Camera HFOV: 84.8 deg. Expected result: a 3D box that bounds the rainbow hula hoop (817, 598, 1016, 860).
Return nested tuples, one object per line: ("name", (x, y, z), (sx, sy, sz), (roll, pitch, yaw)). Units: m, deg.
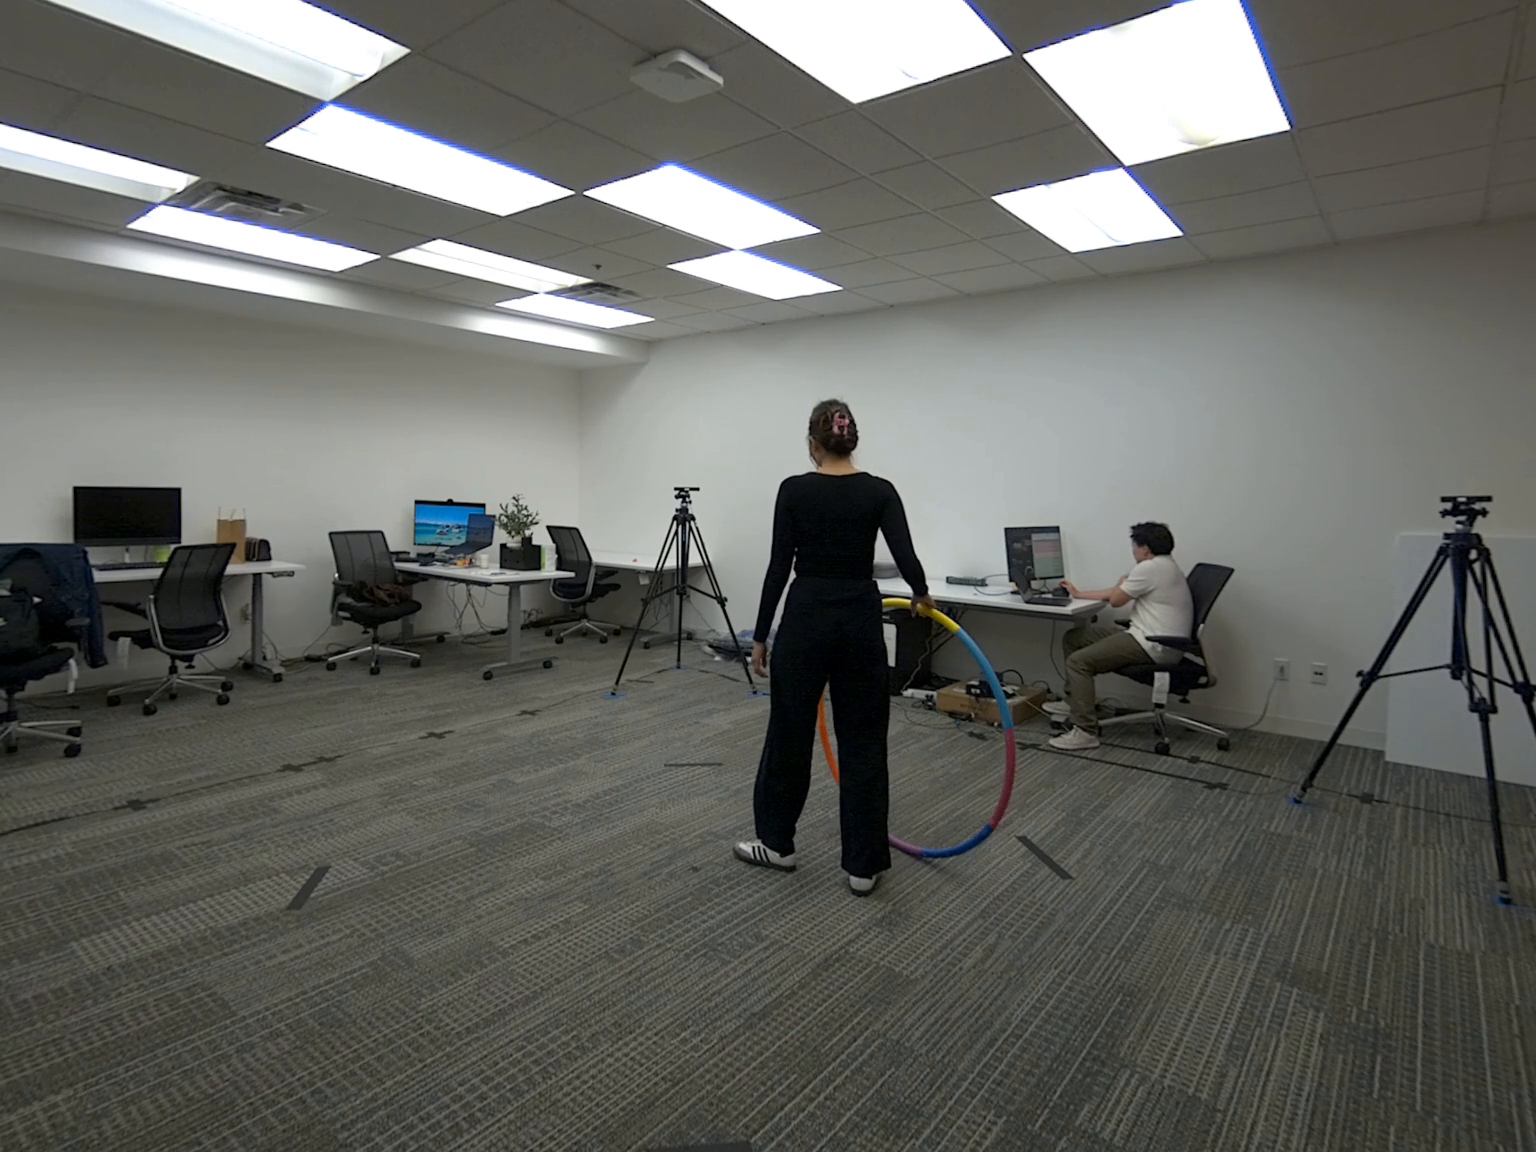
("rainbow hula hoop", (0.505, 0.576, 3.264), (0.034, 0.974, 1.011), (-5, 7, -37))
